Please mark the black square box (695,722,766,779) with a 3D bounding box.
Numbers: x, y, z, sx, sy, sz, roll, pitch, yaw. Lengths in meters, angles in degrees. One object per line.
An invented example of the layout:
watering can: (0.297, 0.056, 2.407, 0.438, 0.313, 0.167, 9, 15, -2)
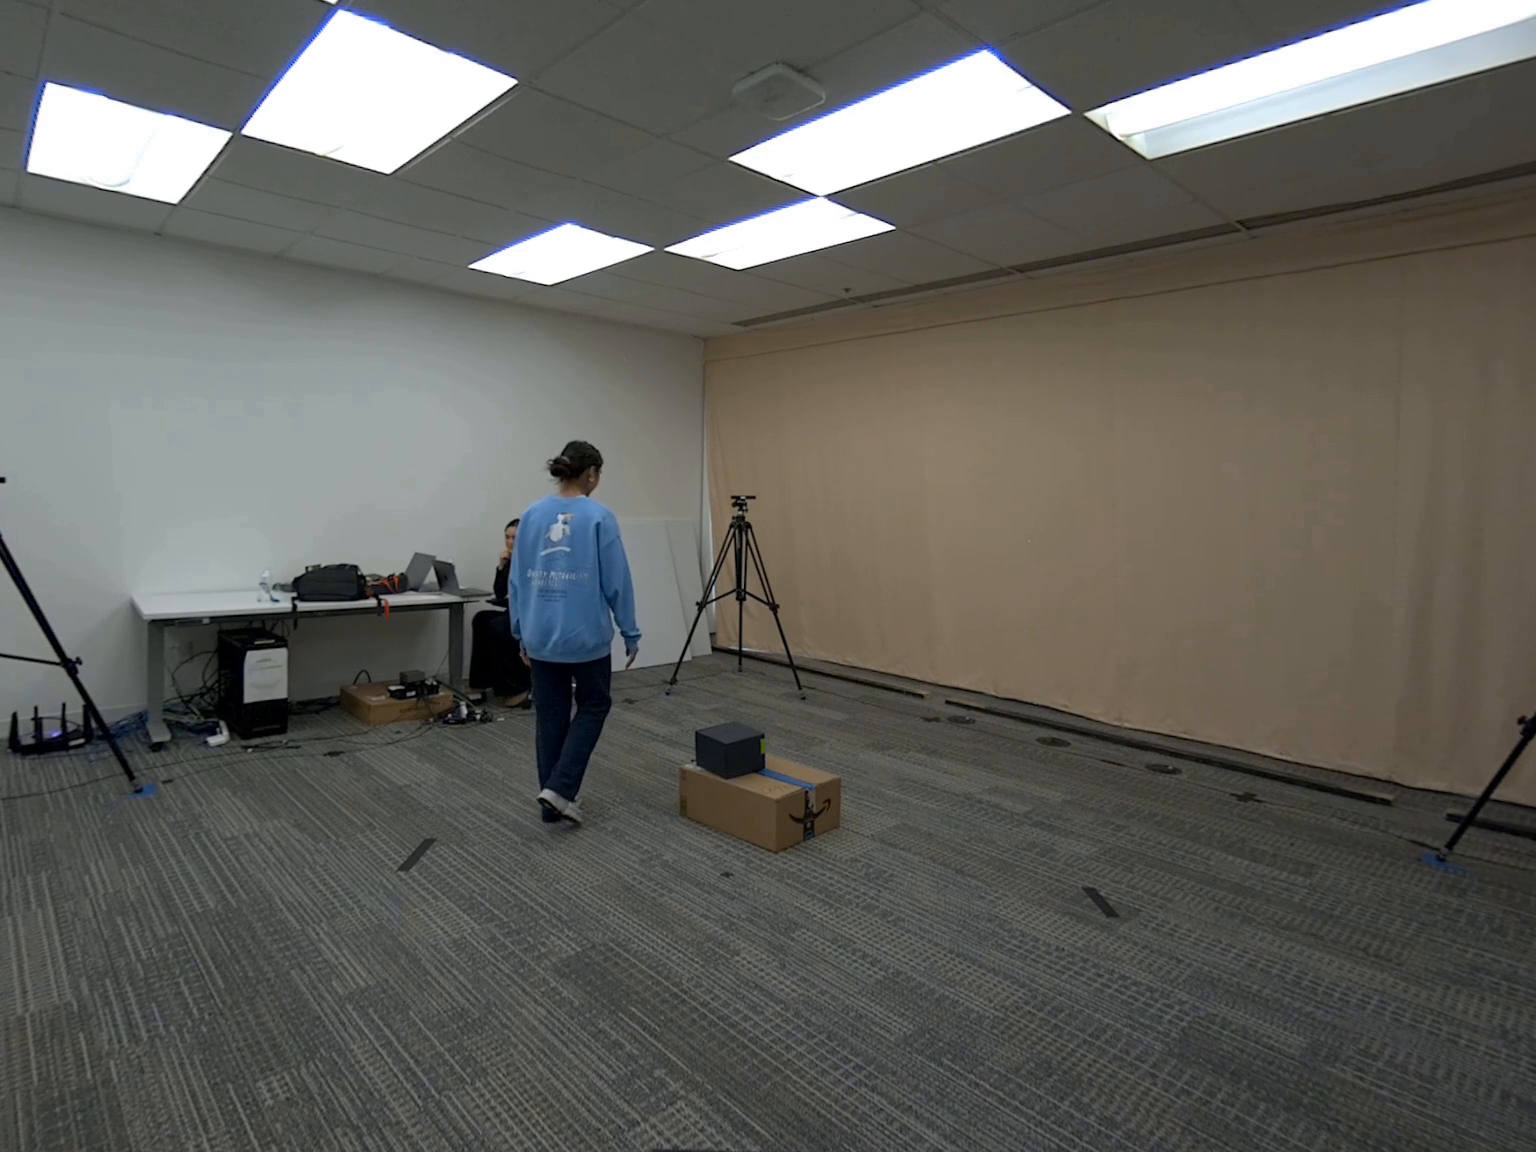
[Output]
black square box: (-0.170, 0.750, 3.651, 0.212, 0.155, 0.233, -5, 7, -38)
